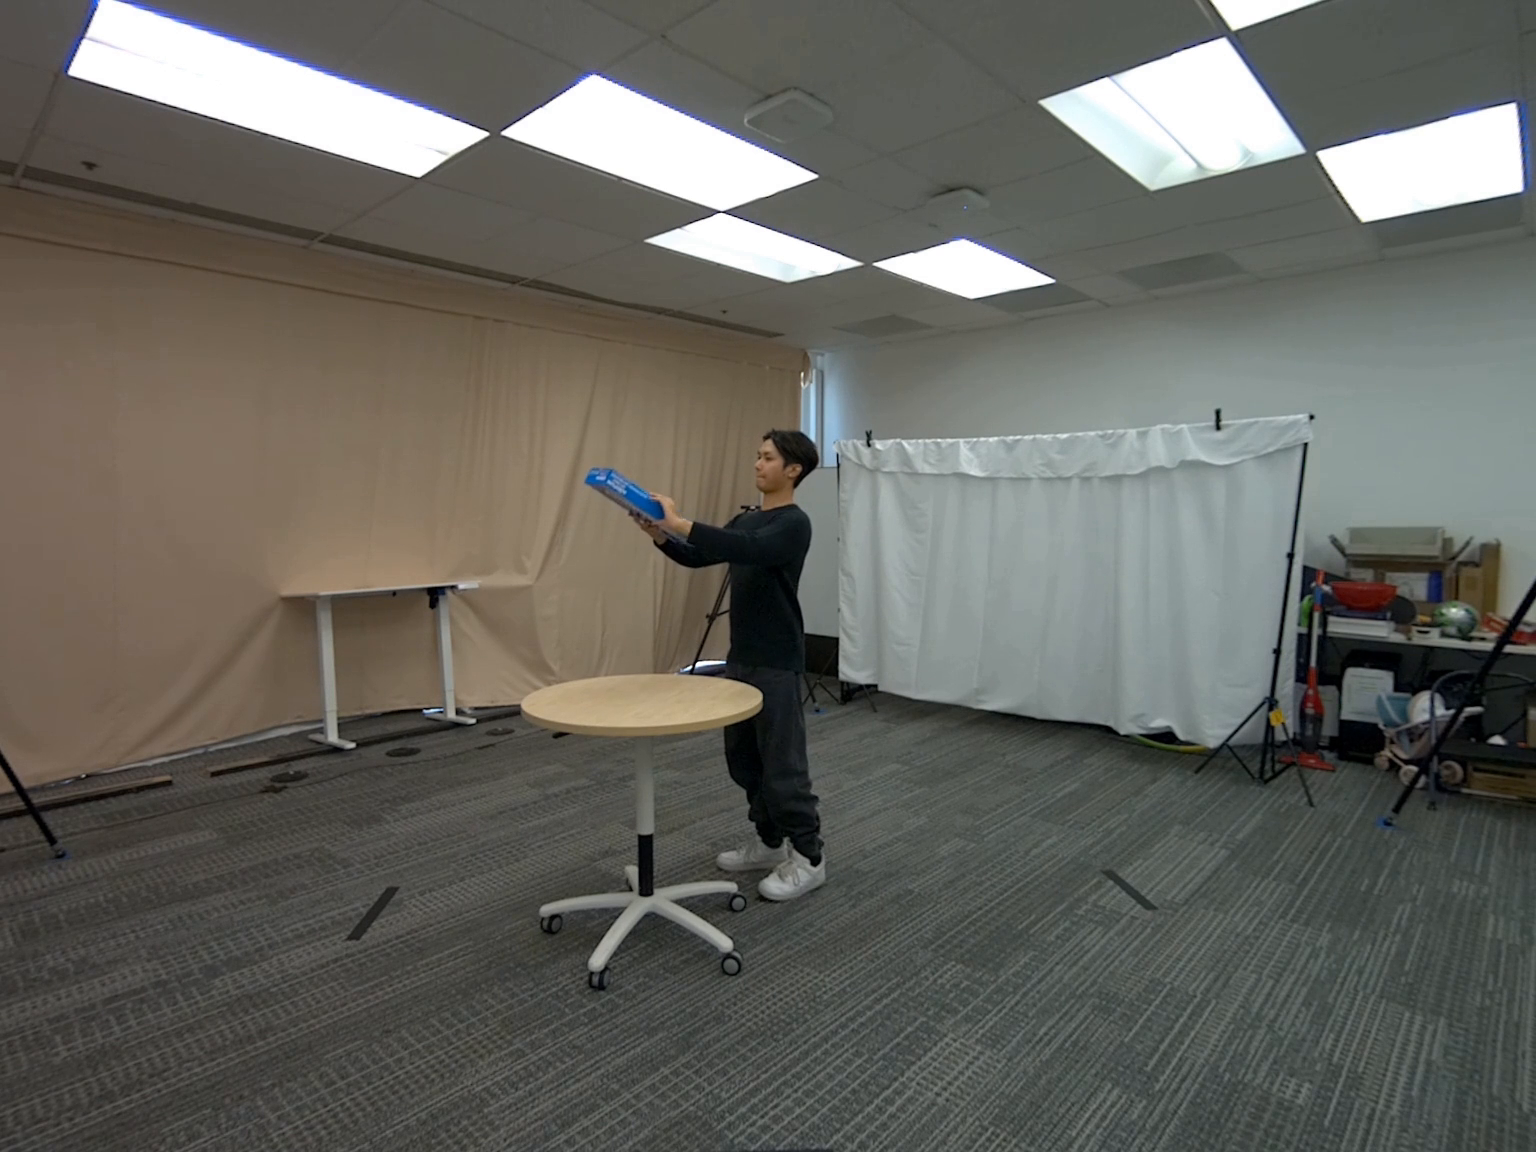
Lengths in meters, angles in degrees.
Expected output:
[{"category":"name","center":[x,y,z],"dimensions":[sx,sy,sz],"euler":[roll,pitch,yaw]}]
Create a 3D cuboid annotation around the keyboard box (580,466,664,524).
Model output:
[{"category":"keyboard box","center":[-0.434,-0.239,2.957],"dimensions":[0.423,0.059,0.182],"euler":[35,-12,-31]}]
